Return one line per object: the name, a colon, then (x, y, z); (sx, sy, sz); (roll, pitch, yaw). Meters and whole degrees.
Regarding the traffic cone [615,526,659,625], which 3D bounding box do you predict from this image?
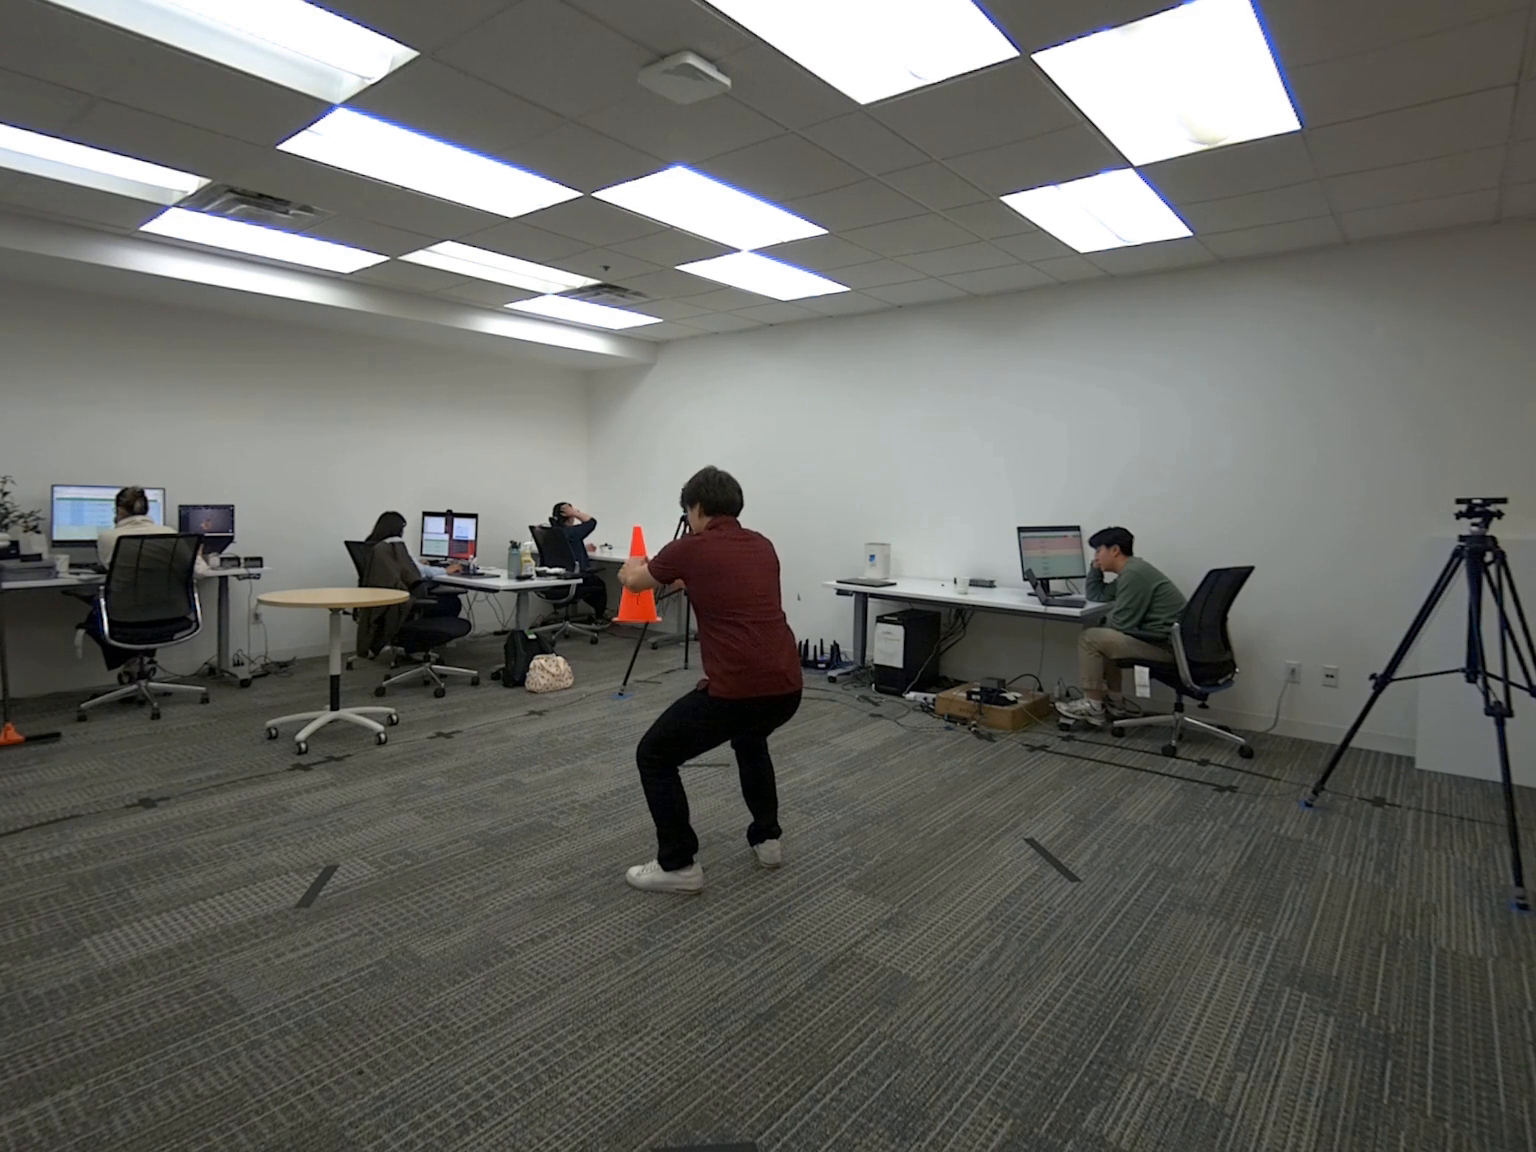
traffic cone: (-0.548, -0.014, 3.470); (0.202, 0.383, 0.207); (0, 2, -8)
